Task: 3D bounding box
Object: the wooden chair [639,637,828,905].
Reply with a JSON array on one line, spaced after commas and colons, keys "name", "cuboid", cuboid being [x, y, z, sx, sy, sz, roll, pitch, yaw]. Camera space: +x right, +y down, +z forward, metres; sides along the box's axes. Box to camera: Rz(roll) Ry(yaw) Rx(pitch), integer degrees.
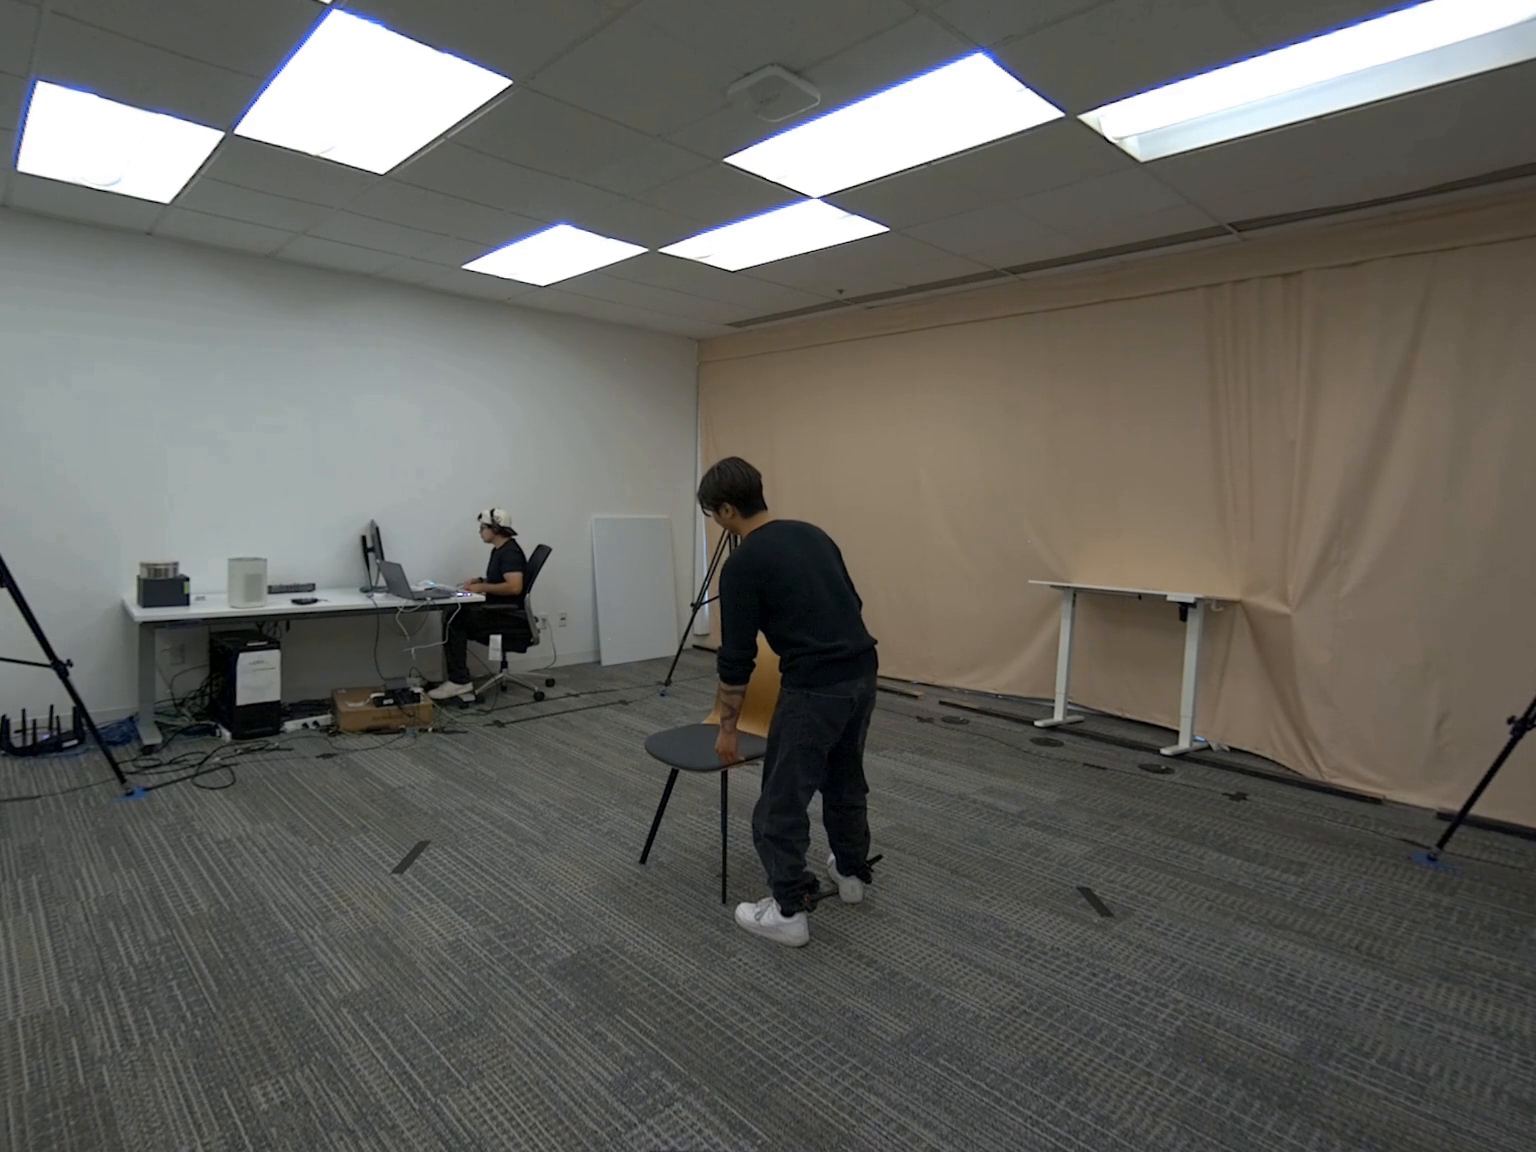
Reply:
[{"name": "wooden chair", "cuboid": [-0.171, 0.673, 3.162, 0.490, 0.877, 0.510, 5, 0, 43]}]
